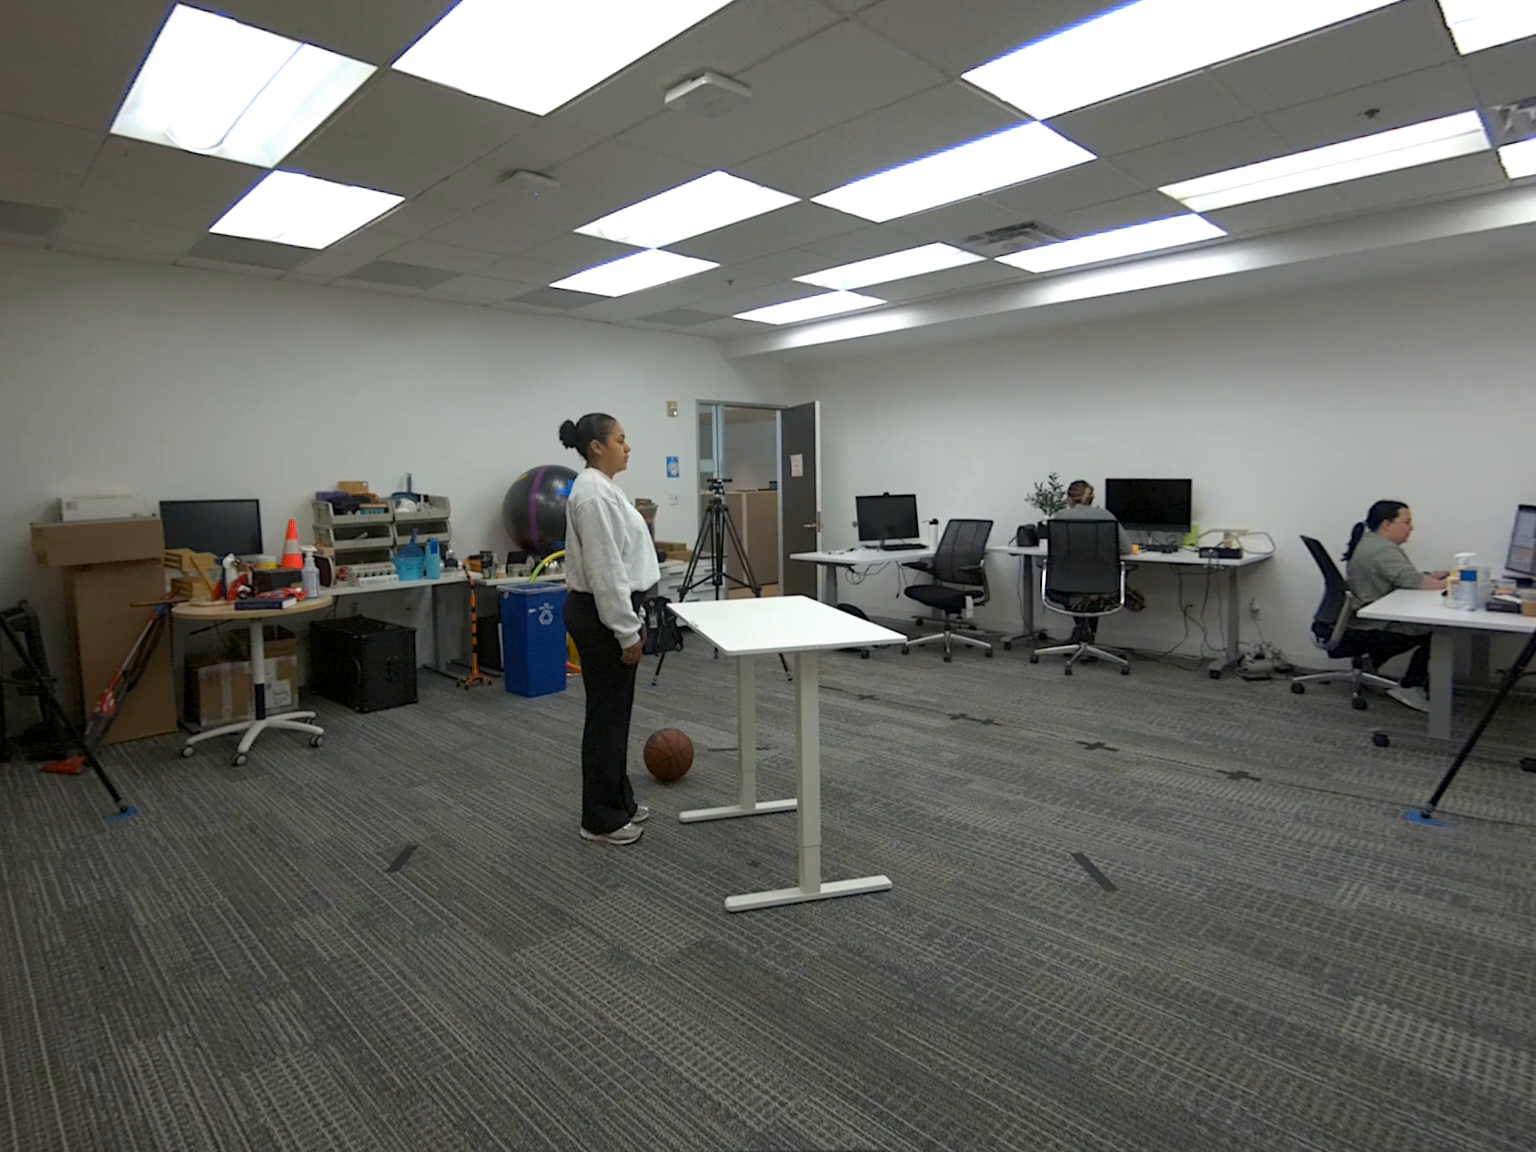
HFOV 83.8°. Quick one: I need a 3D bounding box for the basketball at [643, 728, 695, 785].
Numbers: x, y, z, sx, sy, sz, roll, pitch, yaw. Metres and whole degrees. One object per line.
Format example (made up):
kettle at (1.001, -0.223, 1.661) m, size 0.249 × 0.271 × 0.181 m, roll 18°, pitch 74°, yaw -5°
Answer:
basketball at (-0.467, 0.834, 4.006) m, size 0.236 × 0.235 × 0.237 m, roll -1°, pitch 5°, yaw -2°
